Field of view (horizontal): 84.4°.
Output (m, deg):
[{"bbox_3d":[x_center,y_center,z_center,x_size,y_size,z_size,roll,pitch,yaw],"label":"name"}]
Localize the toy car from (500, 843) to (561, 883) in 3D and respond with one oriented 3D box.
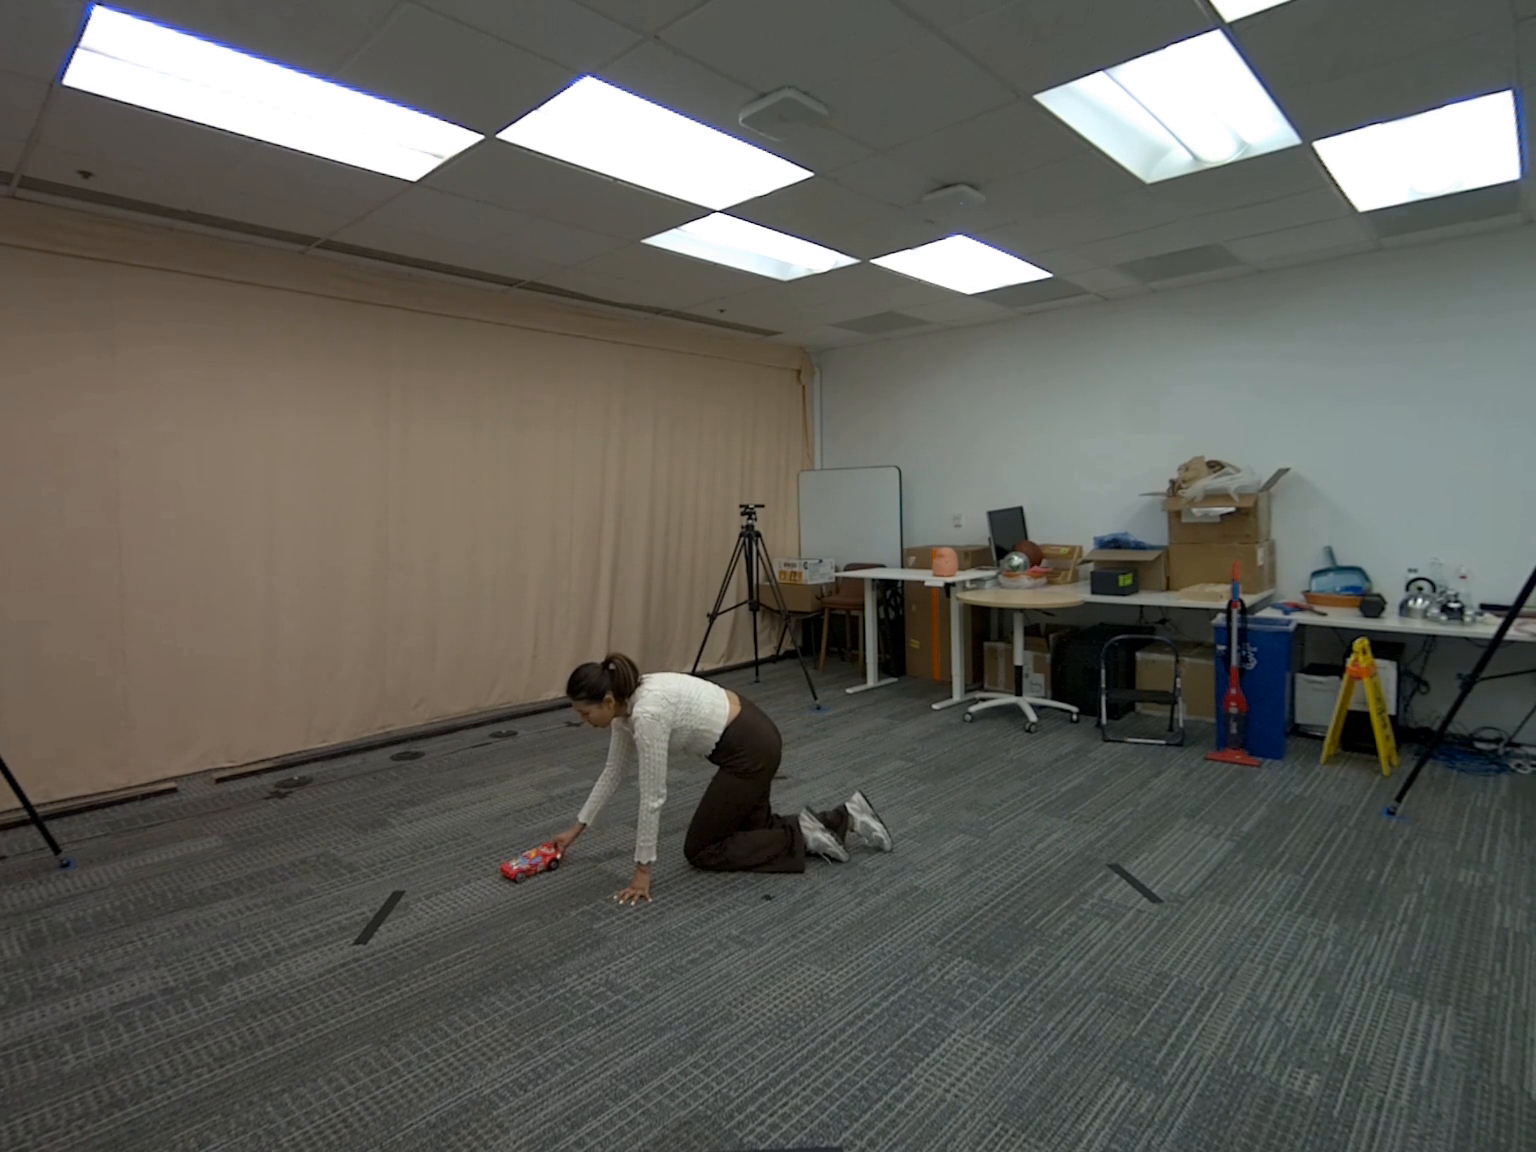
[{"bbox_3d":[-0.908,1.112,3.256,0.134,0.082,0.248,1,16,45],"label":"toy car"}]
